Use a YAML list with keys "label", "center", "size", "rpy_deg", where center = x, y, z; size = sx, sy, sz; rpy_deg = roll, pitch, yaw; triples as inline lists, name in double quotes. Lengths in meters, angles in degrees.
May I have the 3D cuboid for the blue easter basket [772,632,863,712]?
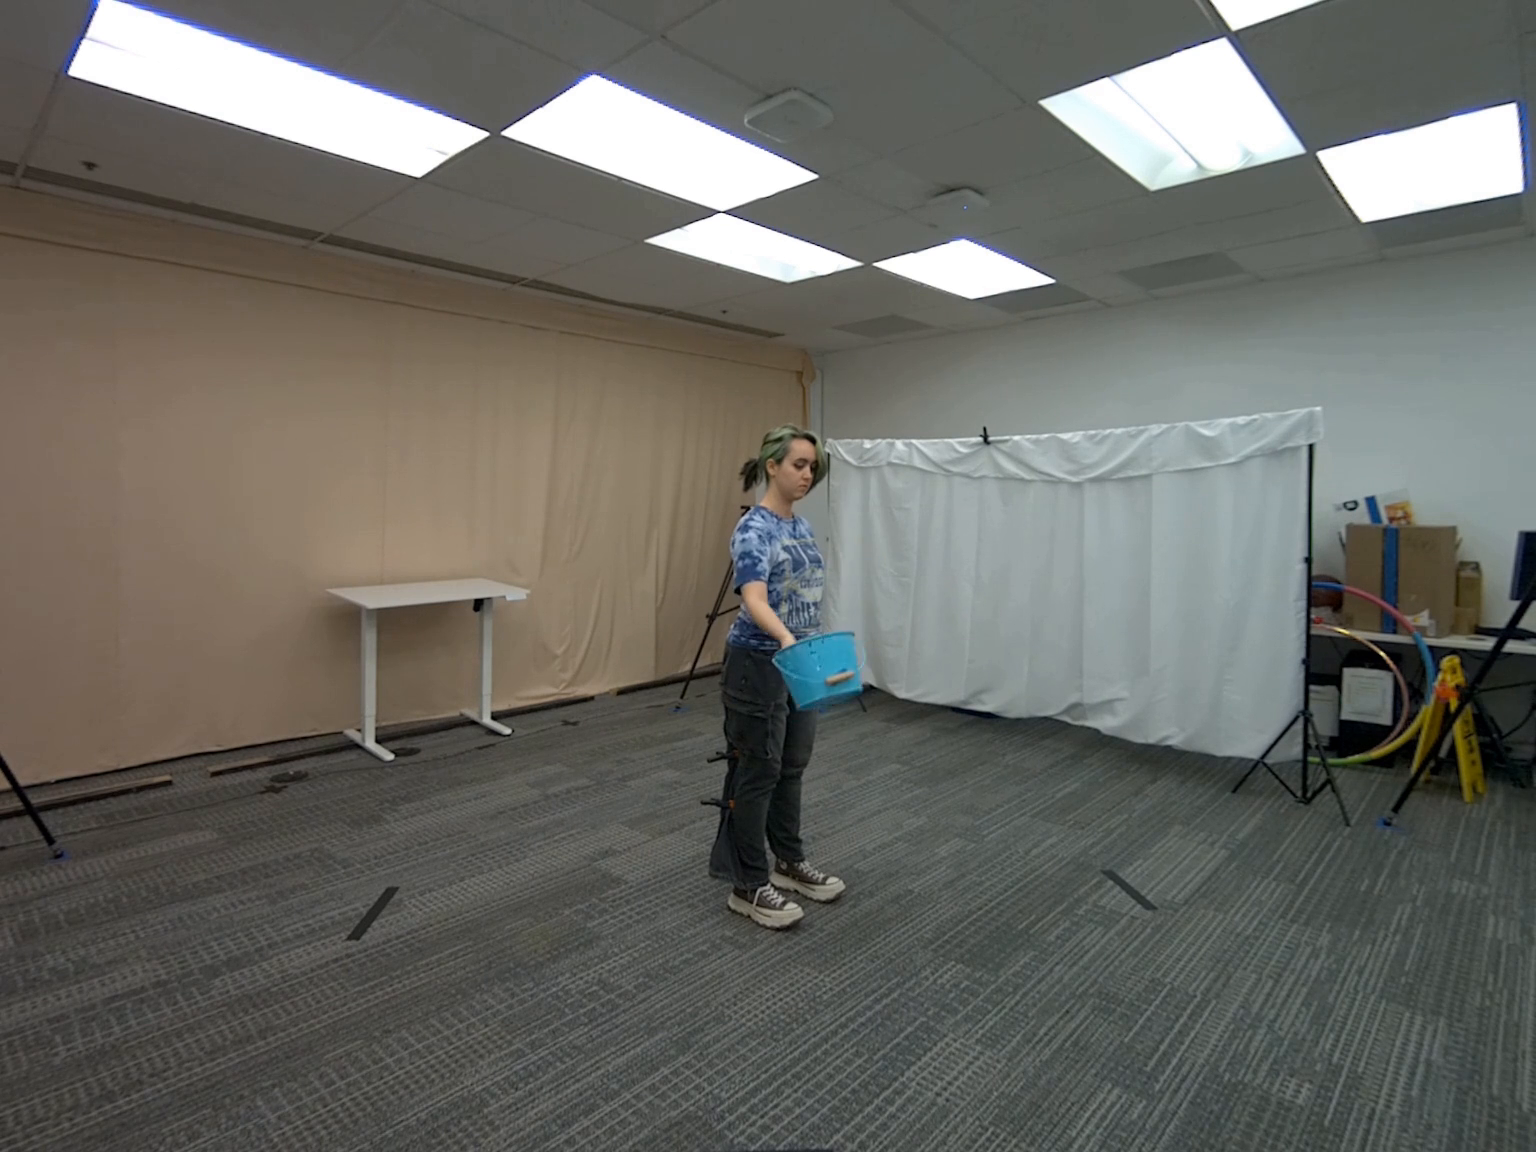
- label: "blue easter basket"
  center: [0.129, 0.253, 2.249]
  size: [0.242, 0.158, 0.241]
  rpy_deg: [-15, -18, -7]
